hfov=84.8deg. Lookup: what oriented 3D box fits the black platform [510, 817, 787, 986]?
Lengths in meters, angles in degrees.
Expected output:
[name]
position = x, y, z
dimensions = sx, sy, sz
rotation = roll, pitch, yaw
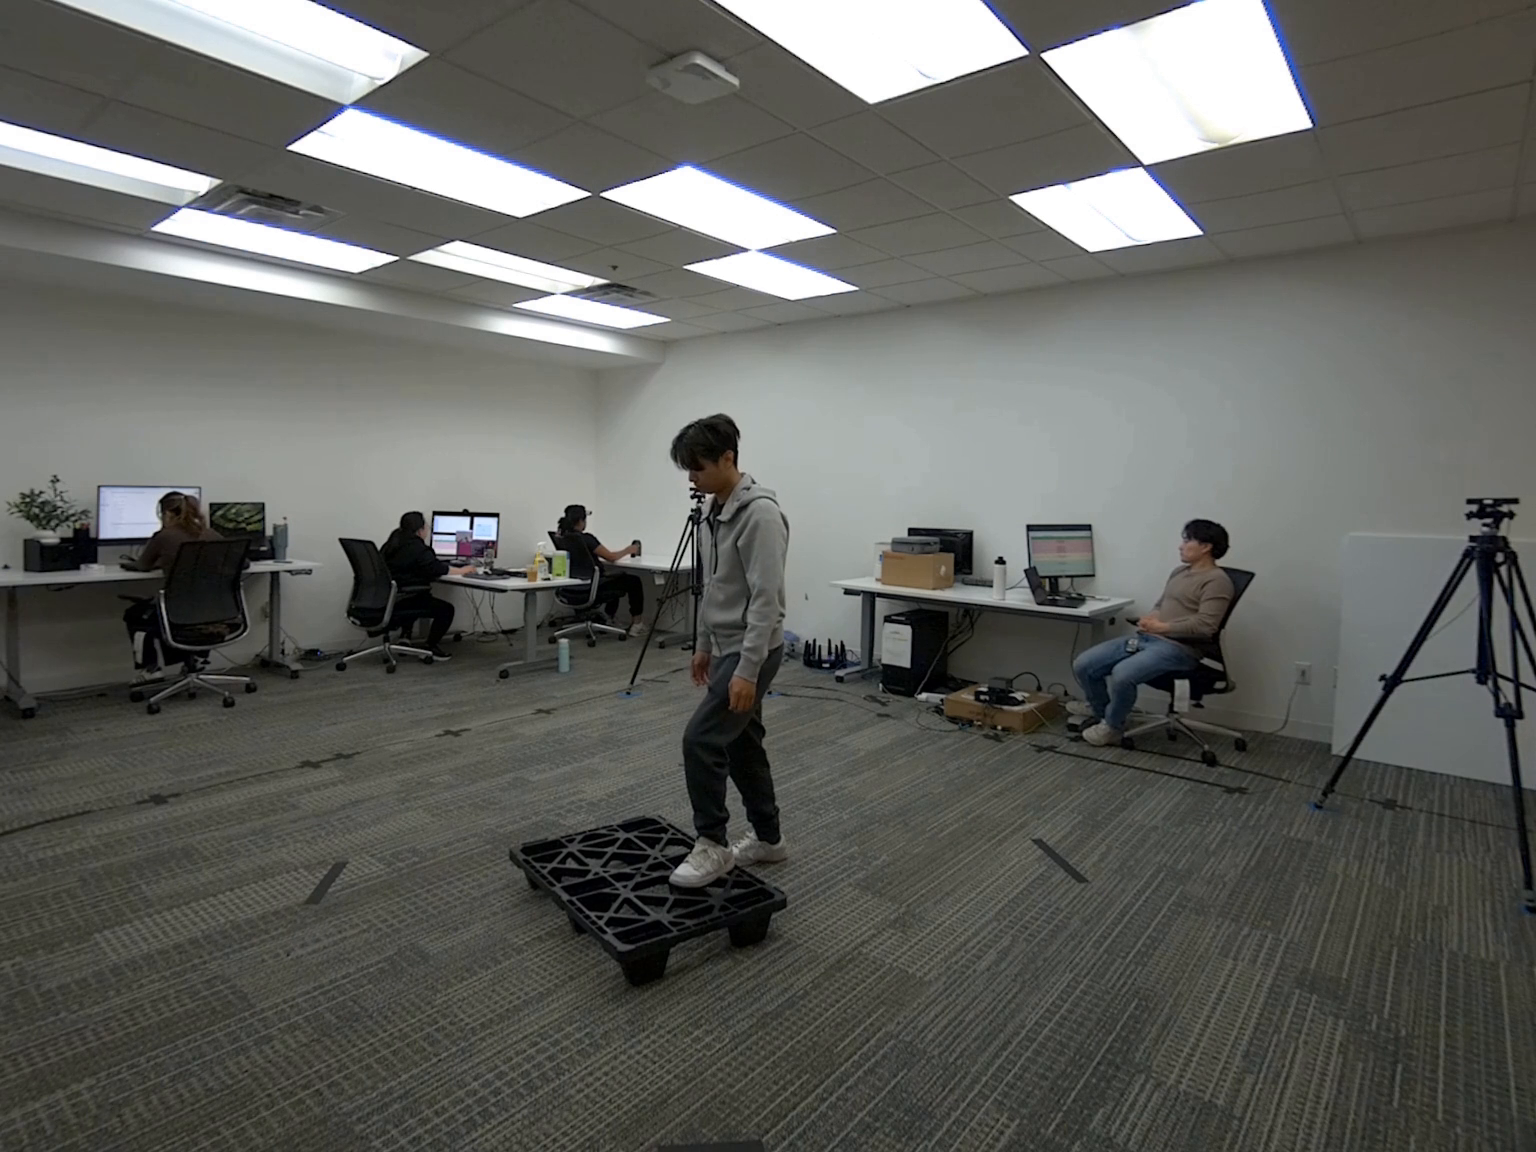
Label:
[black platform]
position = -0.426, 1.026, 2.789
dimensions = 0.587, 0.143, 0.833
rotation = -2, 6, -37
